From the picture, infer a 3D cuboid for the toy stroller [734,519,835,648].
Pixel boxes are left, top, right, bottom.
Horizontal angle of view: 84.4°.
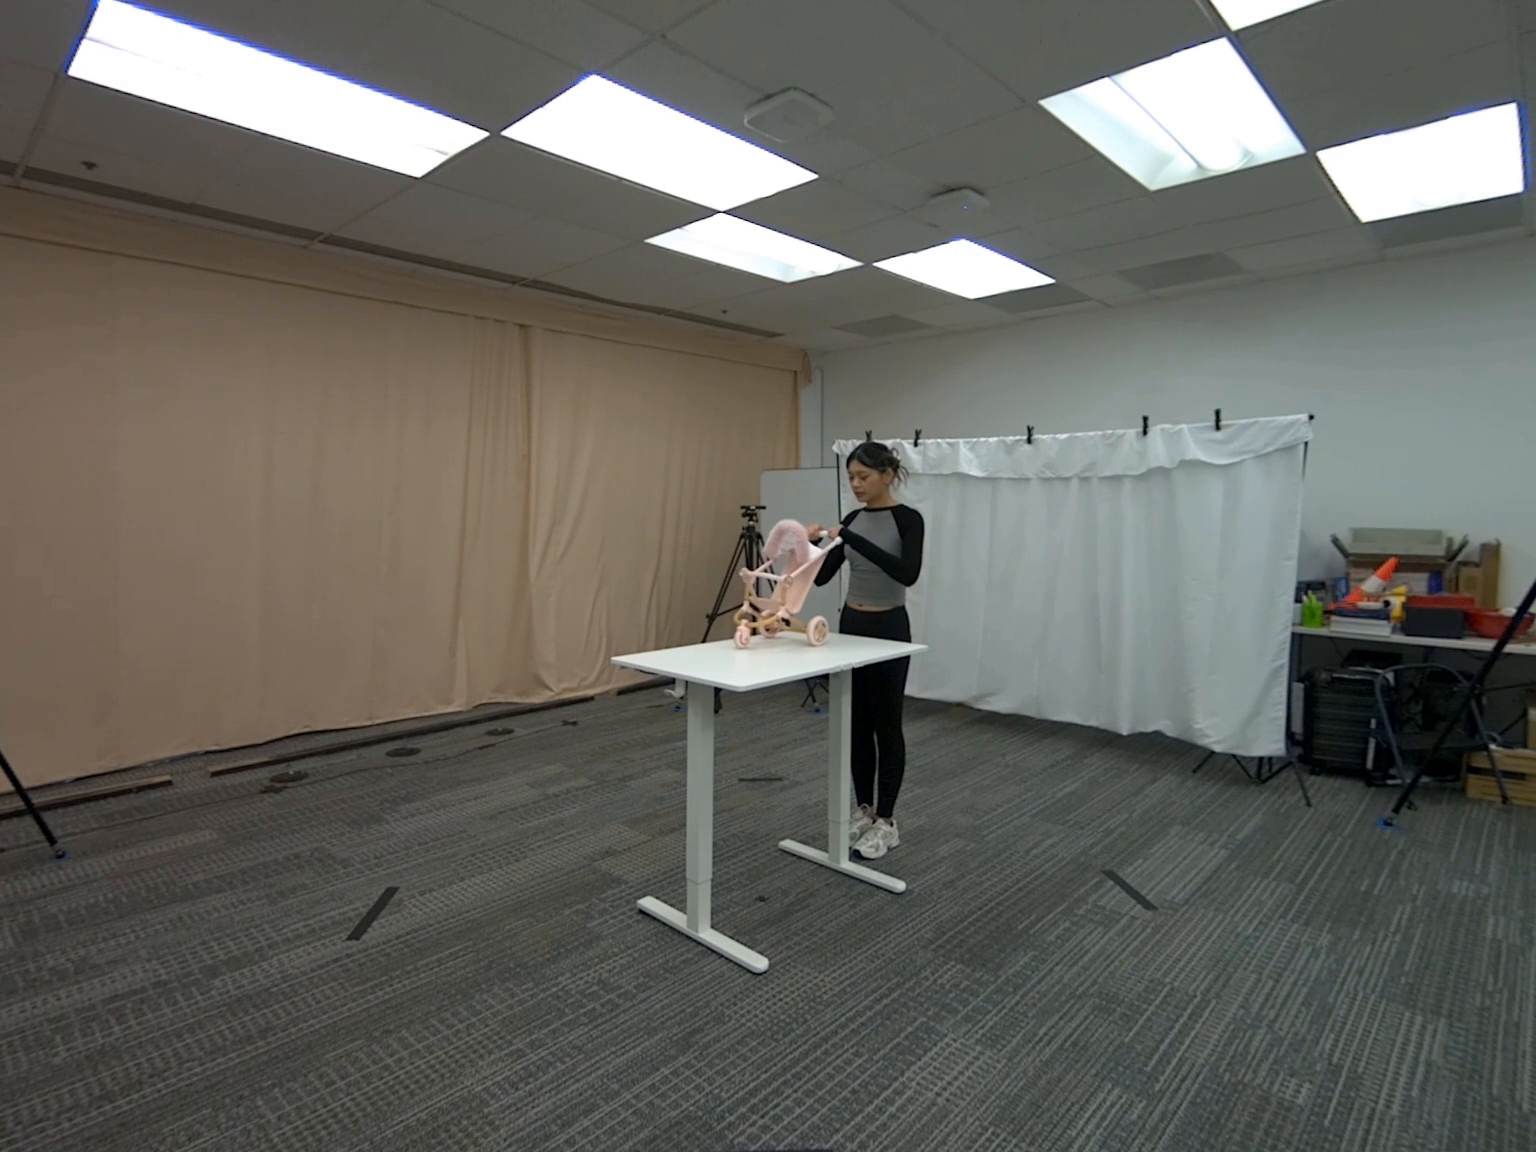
[{"bbox_3d":[0.058,0.028,3.104,0.329,0.536,0.291,20,-10,-38],"label":"toy stroller"}]
